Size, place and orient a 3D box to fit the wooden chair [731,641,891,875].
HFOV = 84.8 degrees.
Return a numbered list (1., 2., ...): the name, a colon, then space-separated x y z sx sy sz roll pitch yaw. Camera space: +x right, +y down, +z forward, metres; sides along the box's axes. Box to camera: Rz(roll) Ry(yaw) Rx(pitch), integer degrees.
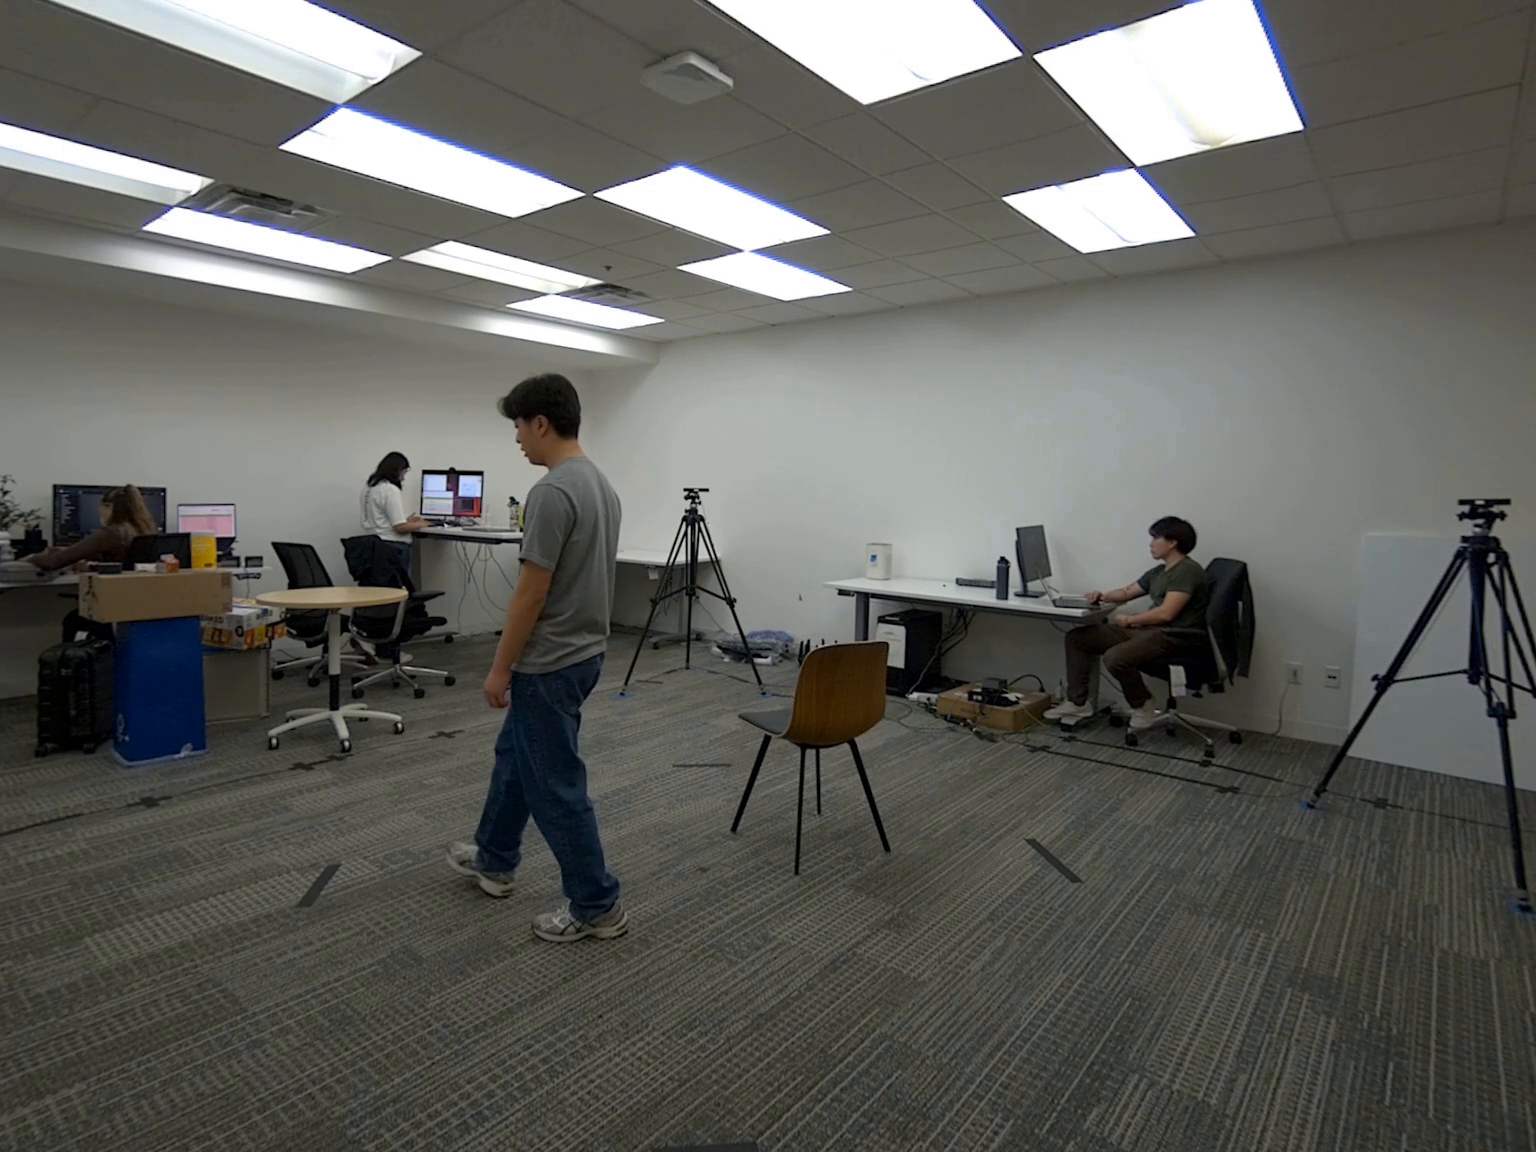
1. wooden chair: 0.154 0.626 3.359 0.465 0.872 0.541 -1 8 -32
